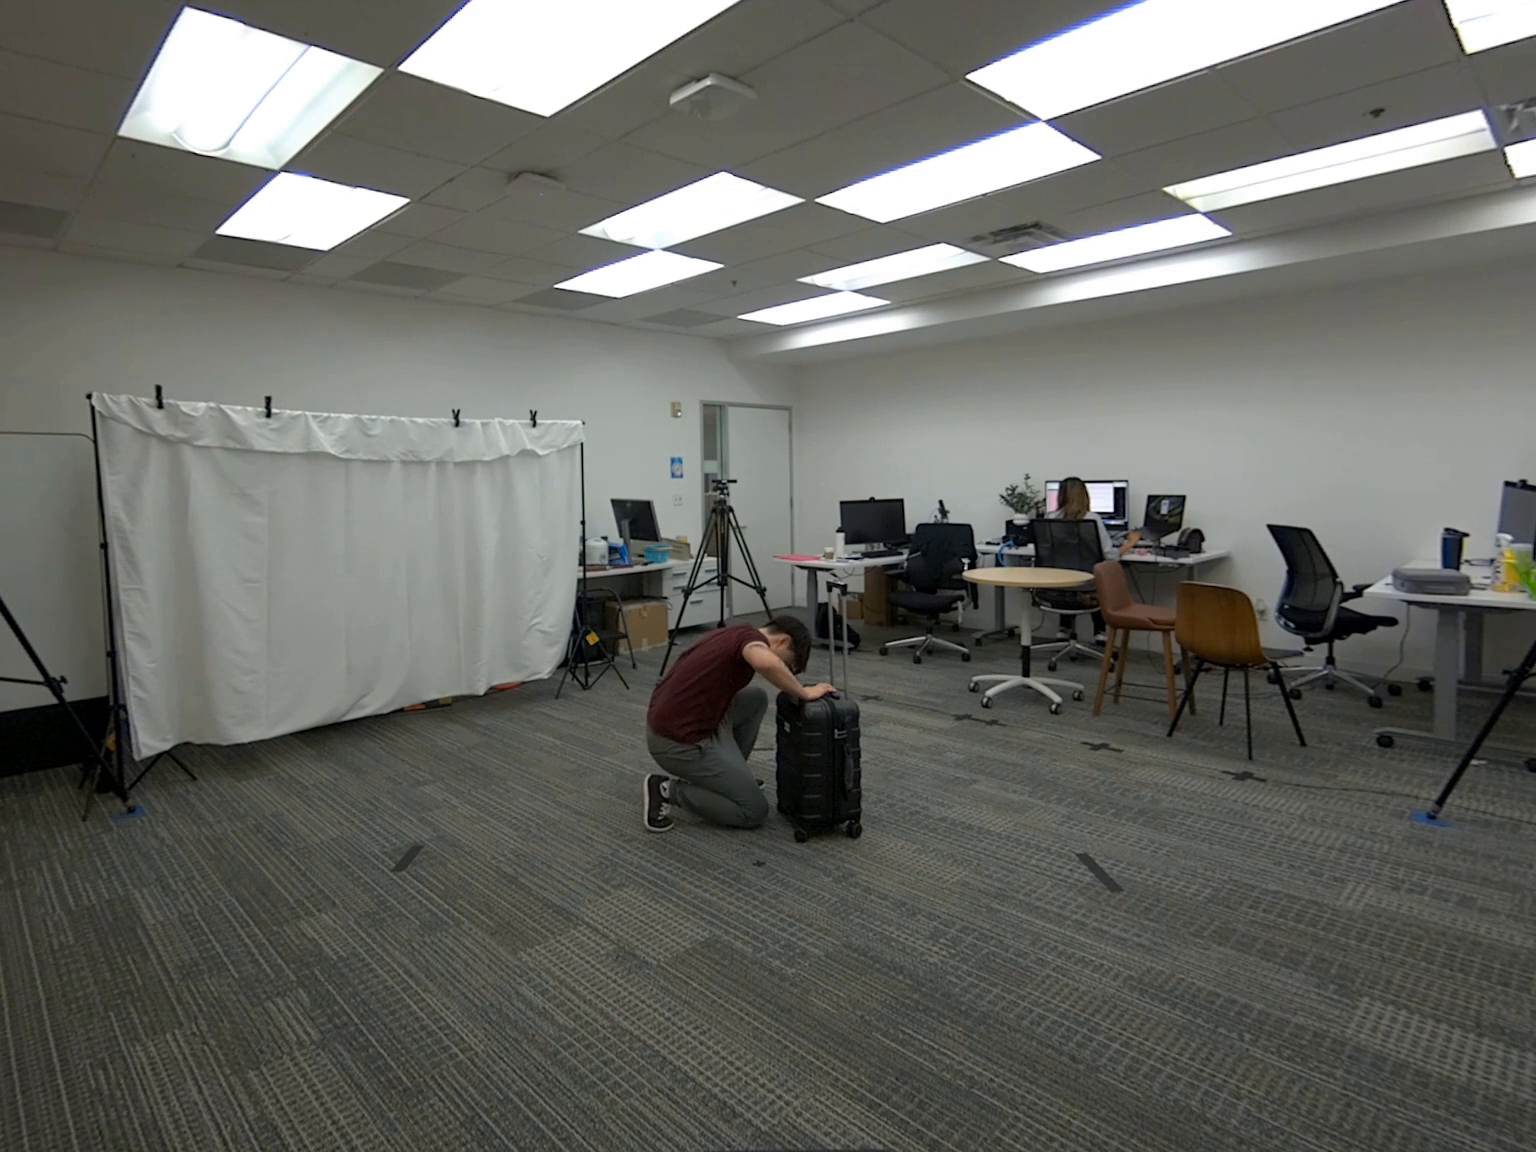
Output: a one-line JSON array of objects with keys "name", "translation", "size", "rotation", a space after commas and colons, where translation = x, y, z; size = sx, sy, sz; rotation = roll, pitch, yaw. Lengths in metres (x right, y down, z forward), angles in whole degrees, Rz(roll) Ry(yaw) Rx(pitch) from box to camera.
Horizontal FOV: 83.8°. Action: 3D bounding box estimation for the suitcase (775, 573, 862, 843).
[{"name": "suitcase", "translation": [0.199, 0.533, 3.429], "size": [0.254, 0.976, 0.390], "rotation": [-3, 3, -14]}]
